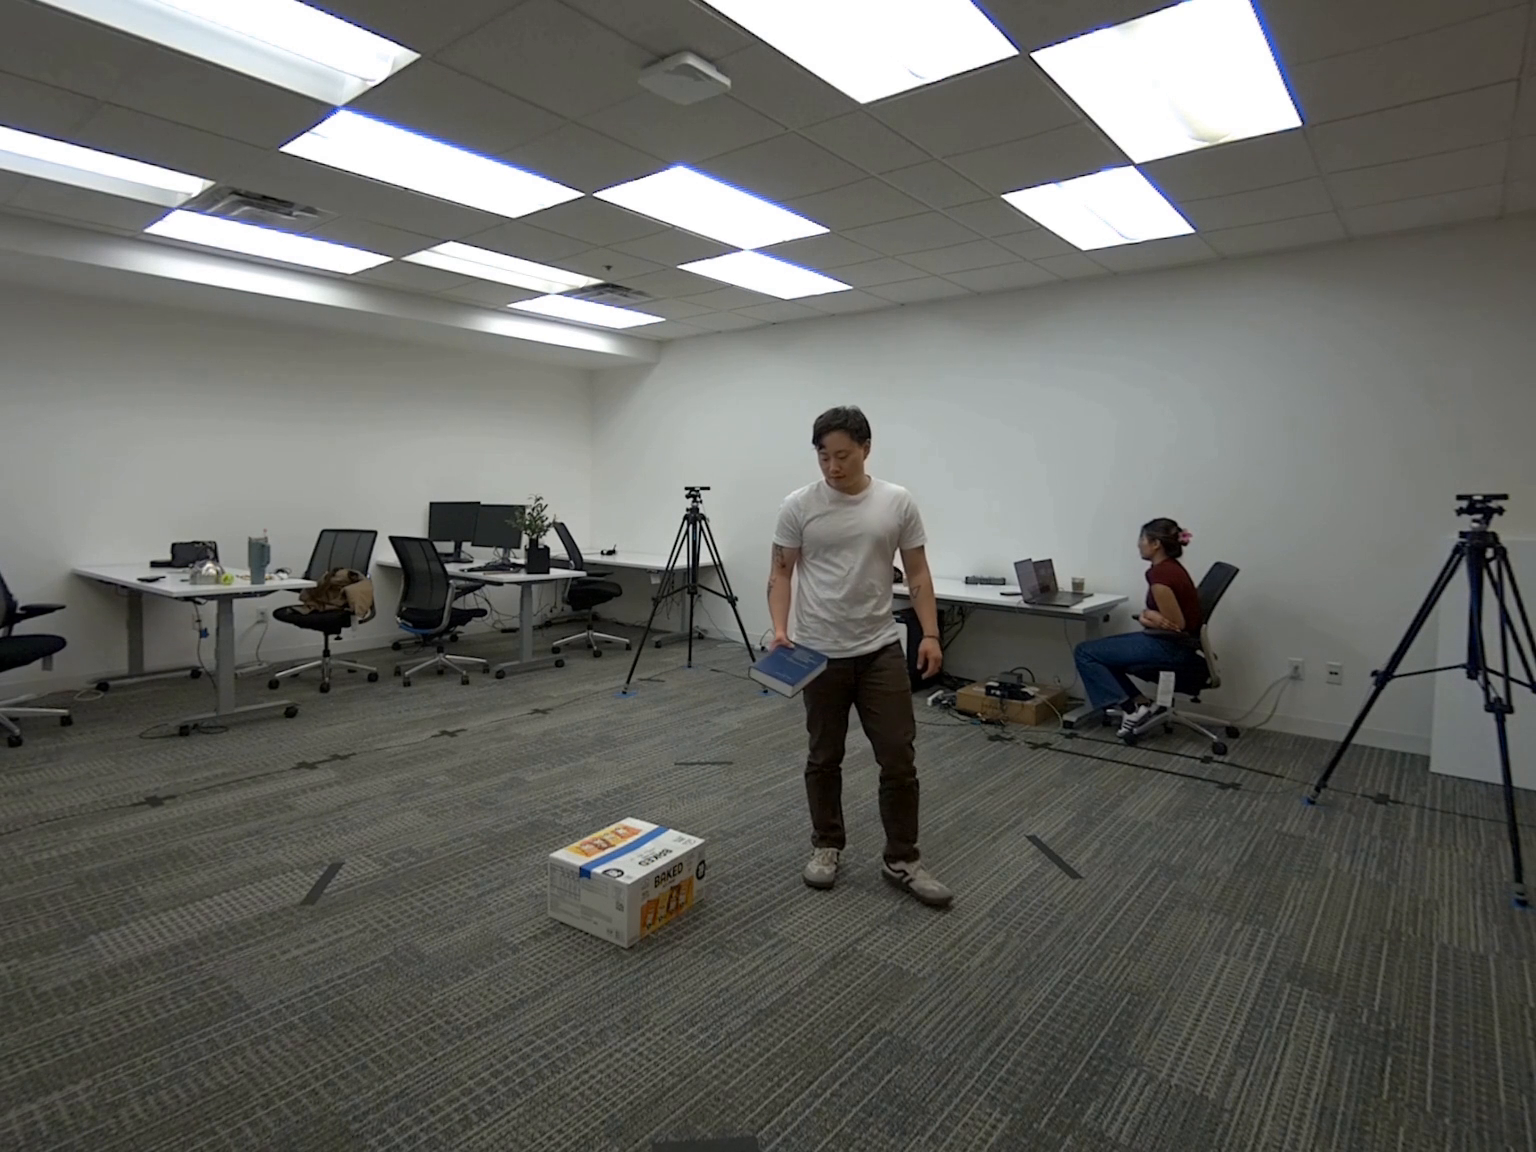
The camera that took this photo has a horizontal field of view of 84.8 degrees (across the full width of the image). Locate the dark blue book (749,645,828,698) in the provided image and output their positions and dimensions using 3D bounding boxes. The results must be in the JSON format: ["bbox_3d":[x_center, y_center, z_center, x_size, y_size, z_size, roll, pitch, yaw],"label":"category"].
[{"bbox_3d":[0.076,0.294,2.746,0.169,0.044,0.241,21,27,27],"label":"dark blue book"}]
